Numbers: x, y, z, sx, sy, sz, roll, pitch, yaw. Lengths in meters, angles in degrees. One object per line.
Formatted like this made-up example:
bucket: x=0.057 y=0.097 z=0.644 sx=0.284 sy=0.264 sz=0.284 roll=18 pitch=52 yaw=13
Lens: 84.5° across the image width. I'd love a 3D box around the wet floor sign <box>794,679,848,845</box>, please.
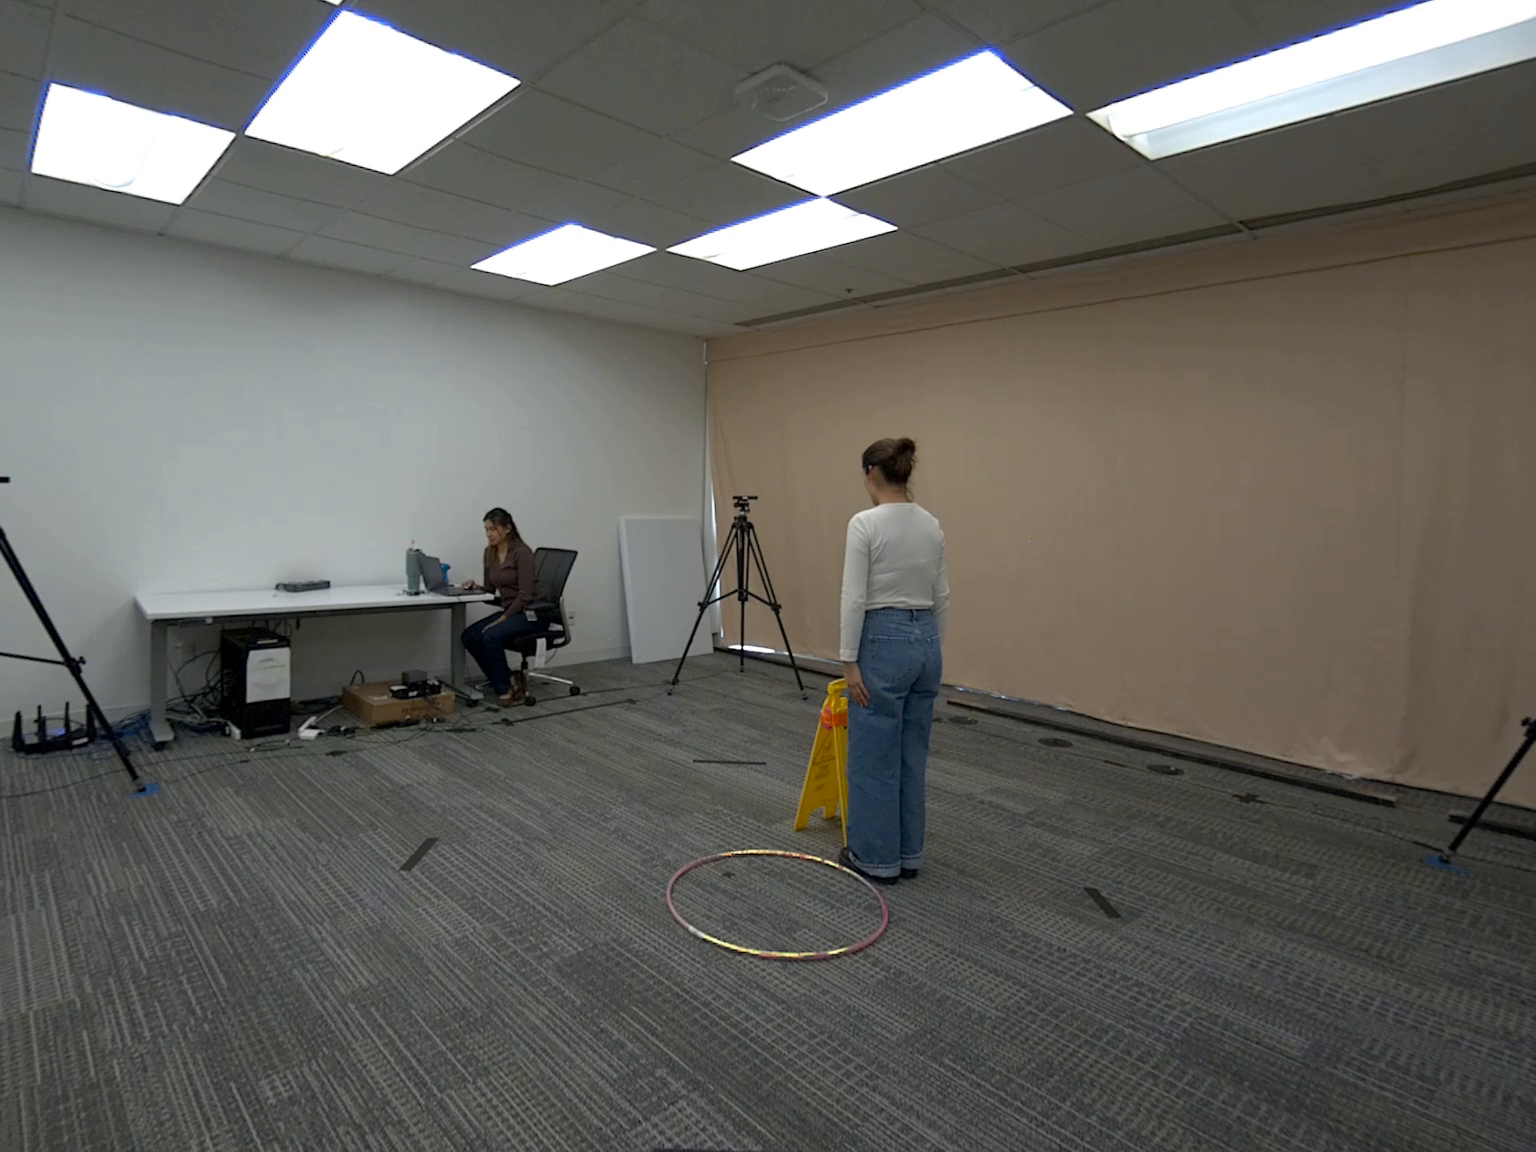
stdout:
wet floor sign: x=0.301 y=0.751 z=3.517 sx=0.297 sy=0.645 sz=0.275 roll=4 pitch=3 yaw=43
